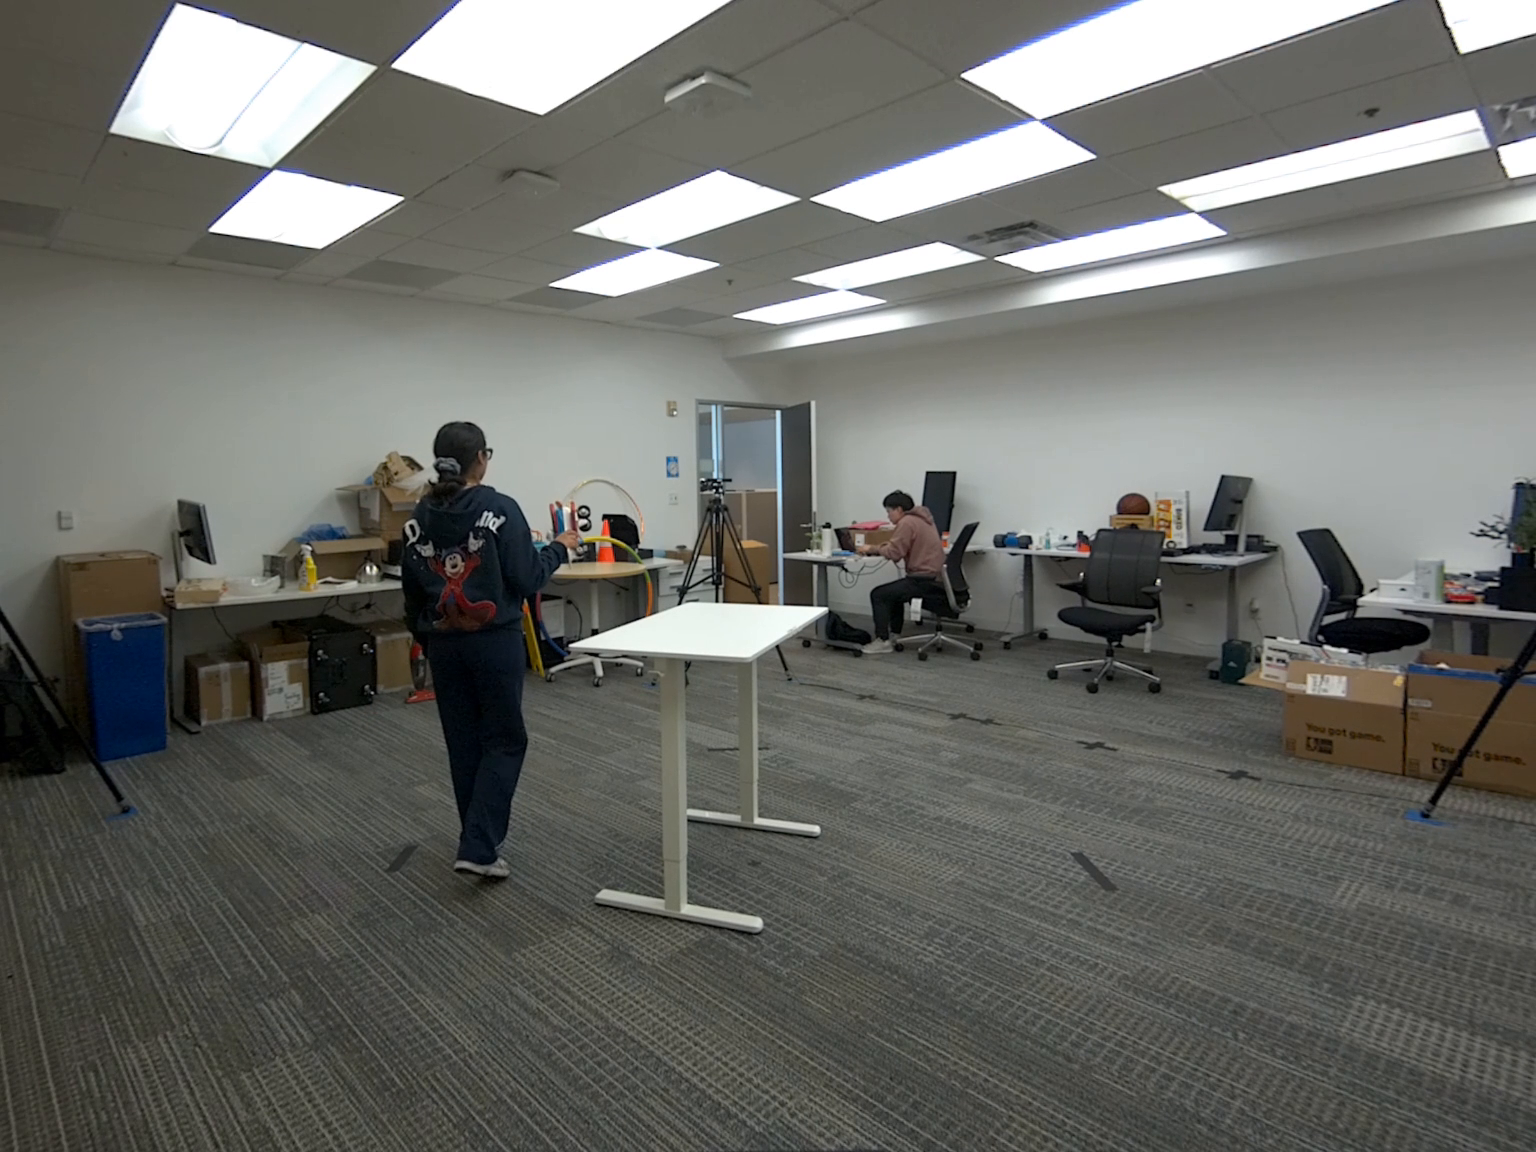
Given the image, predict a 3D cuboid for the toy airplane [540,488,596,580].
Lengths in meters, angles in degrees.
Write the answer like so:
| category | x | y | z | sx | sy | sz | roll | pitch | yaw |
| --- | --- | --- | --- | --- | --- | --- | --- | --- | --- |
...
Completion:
| category | x | y | z | sx | sy | sz | roll | pitch | yaw |
| --- | --- | --- | --- | --- | --- | --- | --- | --- | --- |
| toy airplane | -0.773 | -0.169 | 3.325 | 0.156 | 0.246 | 0.264 | 5 | 28 | -1 |
